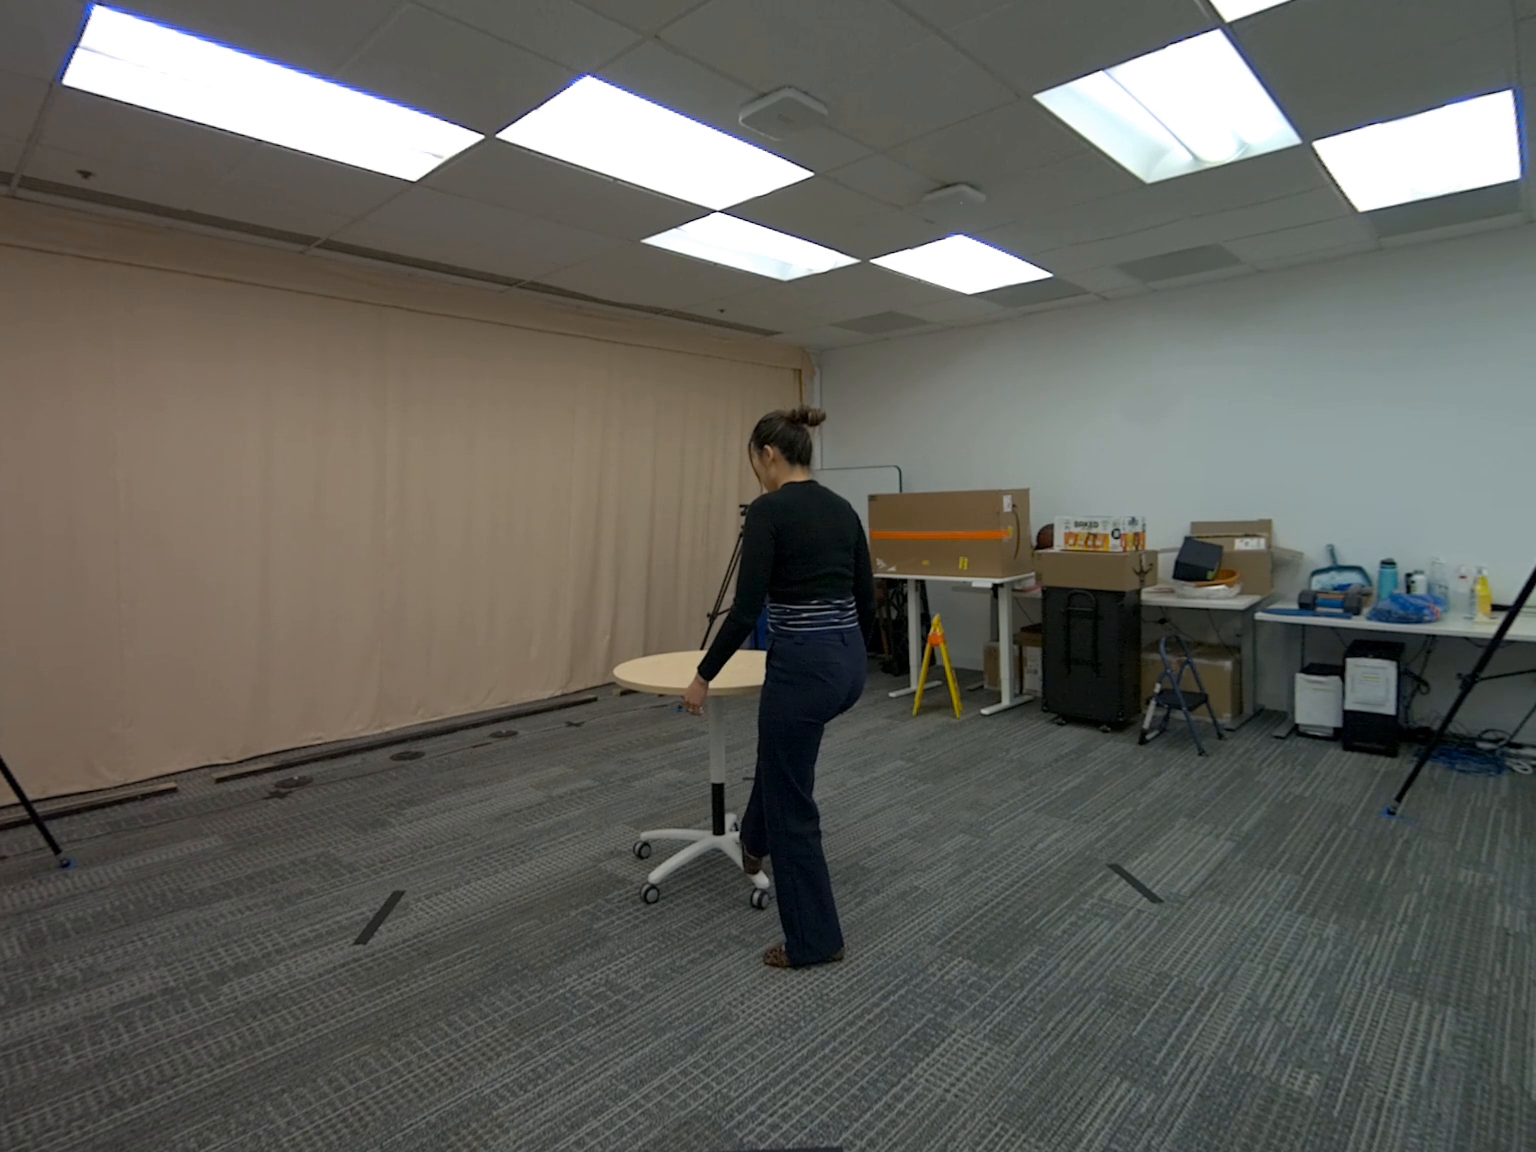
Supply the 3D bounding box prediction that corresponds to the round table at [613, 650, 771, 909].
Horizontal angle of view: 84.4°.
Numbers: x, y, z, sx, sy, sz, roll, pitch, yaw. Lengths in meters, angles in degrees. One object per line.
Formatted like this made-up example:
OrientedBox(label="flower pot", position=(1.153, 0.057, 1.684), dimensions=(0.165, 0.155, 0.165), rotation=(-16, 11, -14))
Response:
OrientedBox(label="round table", position=(-0.195, 0.738, 3.196), dimensions=(0.763, 0.792, 0.766), rotation=(-2, 3, -2))
